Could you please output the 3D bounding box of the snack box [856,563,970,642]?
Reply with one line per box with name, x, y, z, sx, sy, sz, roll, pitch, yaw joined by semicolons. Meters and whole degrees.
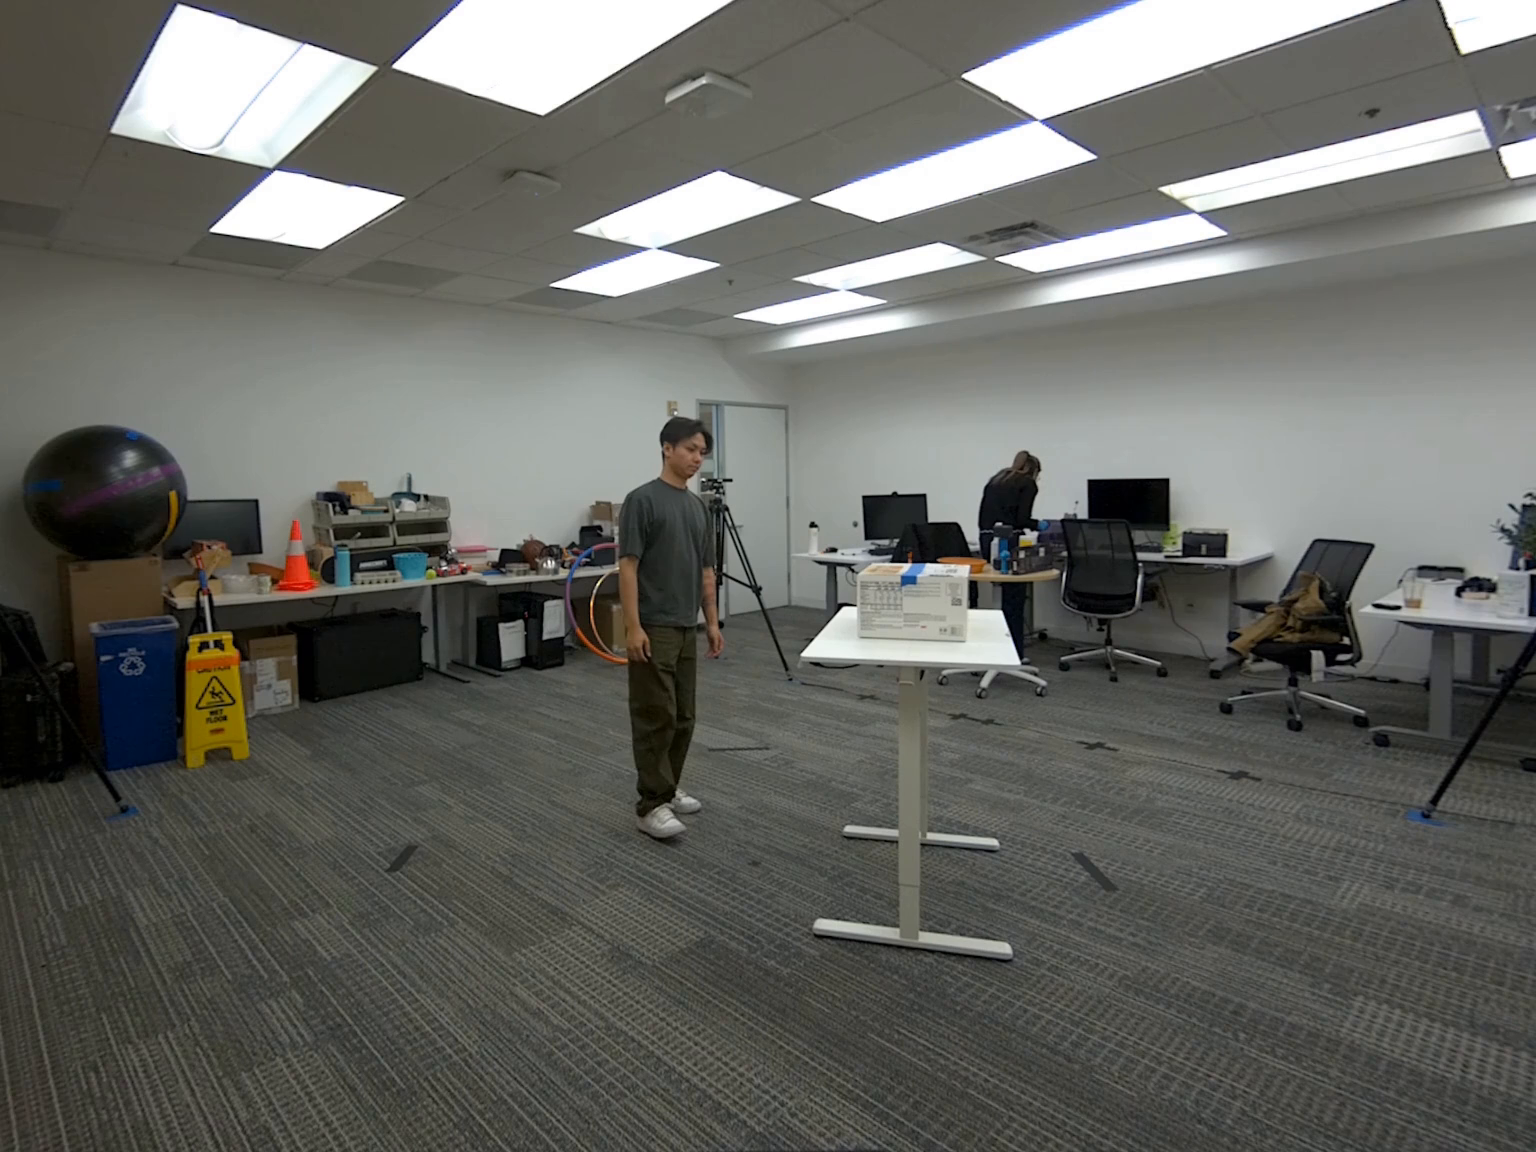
snack box;0.501;0.077;2.864;0.346;0.205;0.400;0;6;15
